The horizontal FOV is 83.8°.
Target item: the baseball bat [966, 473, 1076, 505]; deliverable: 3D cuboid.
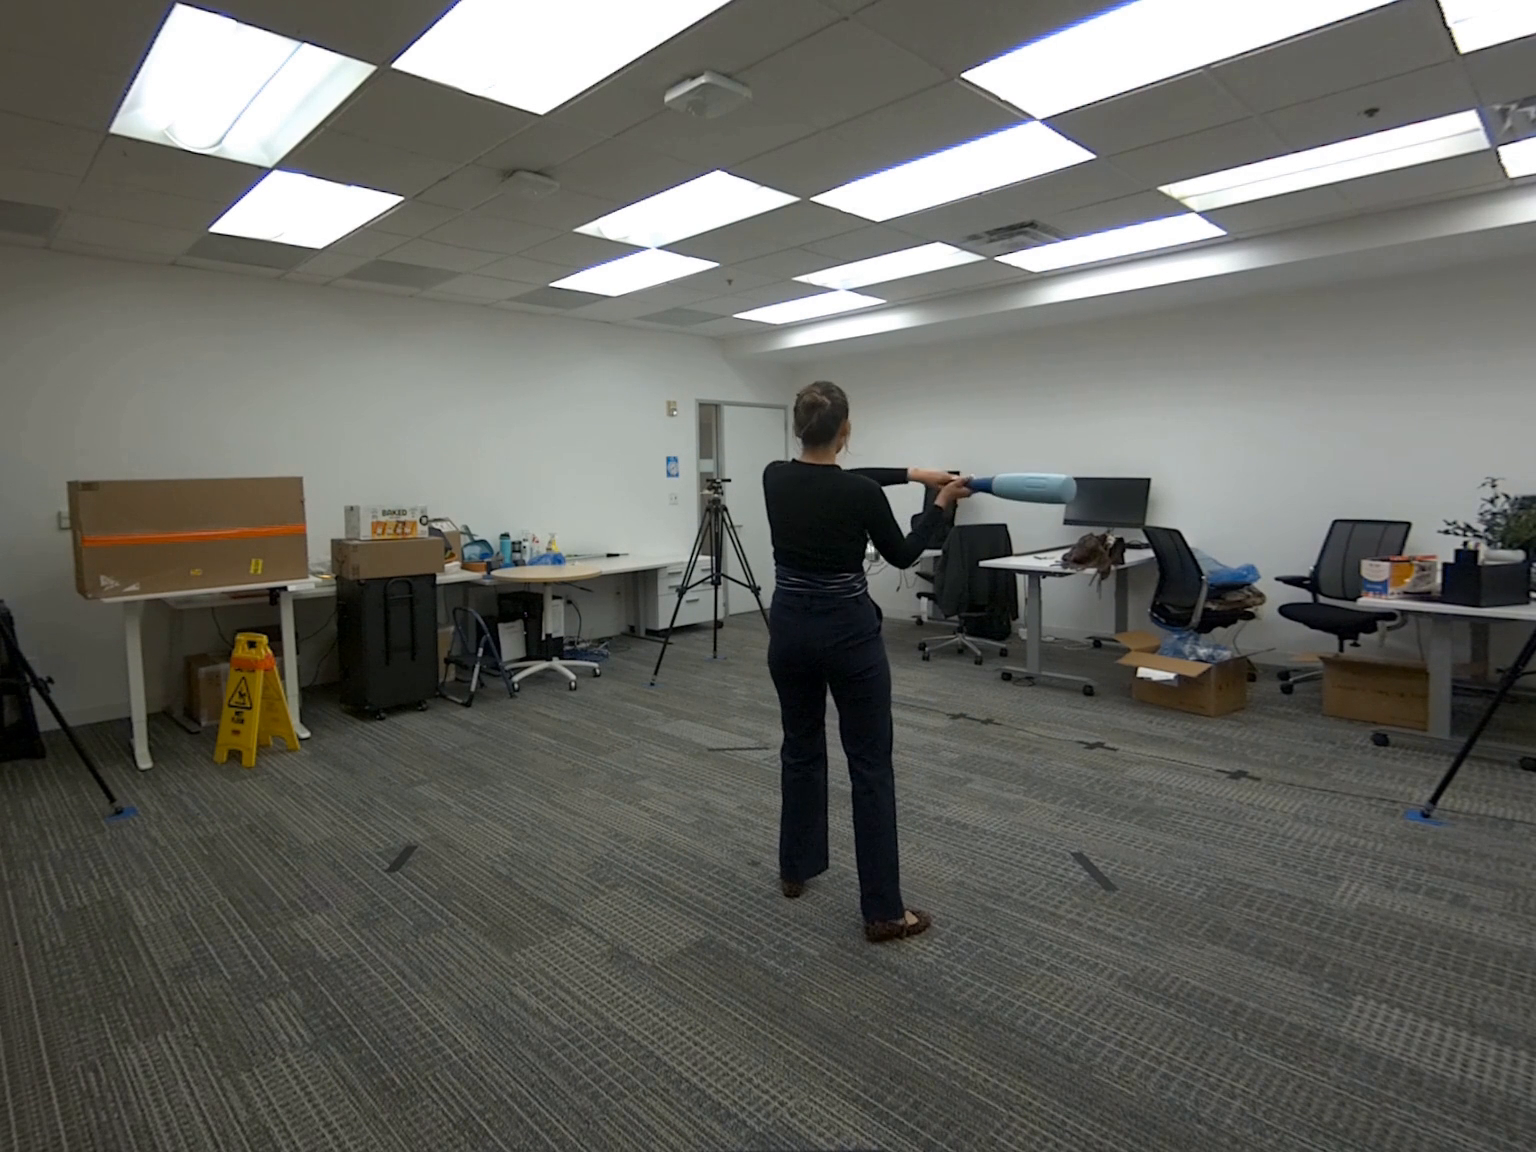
[{"bbox_3d":[0.671,-0.292,2.697,0.087,0.088,0.561,-4,11,-36],"label":"baseball bat"}]
